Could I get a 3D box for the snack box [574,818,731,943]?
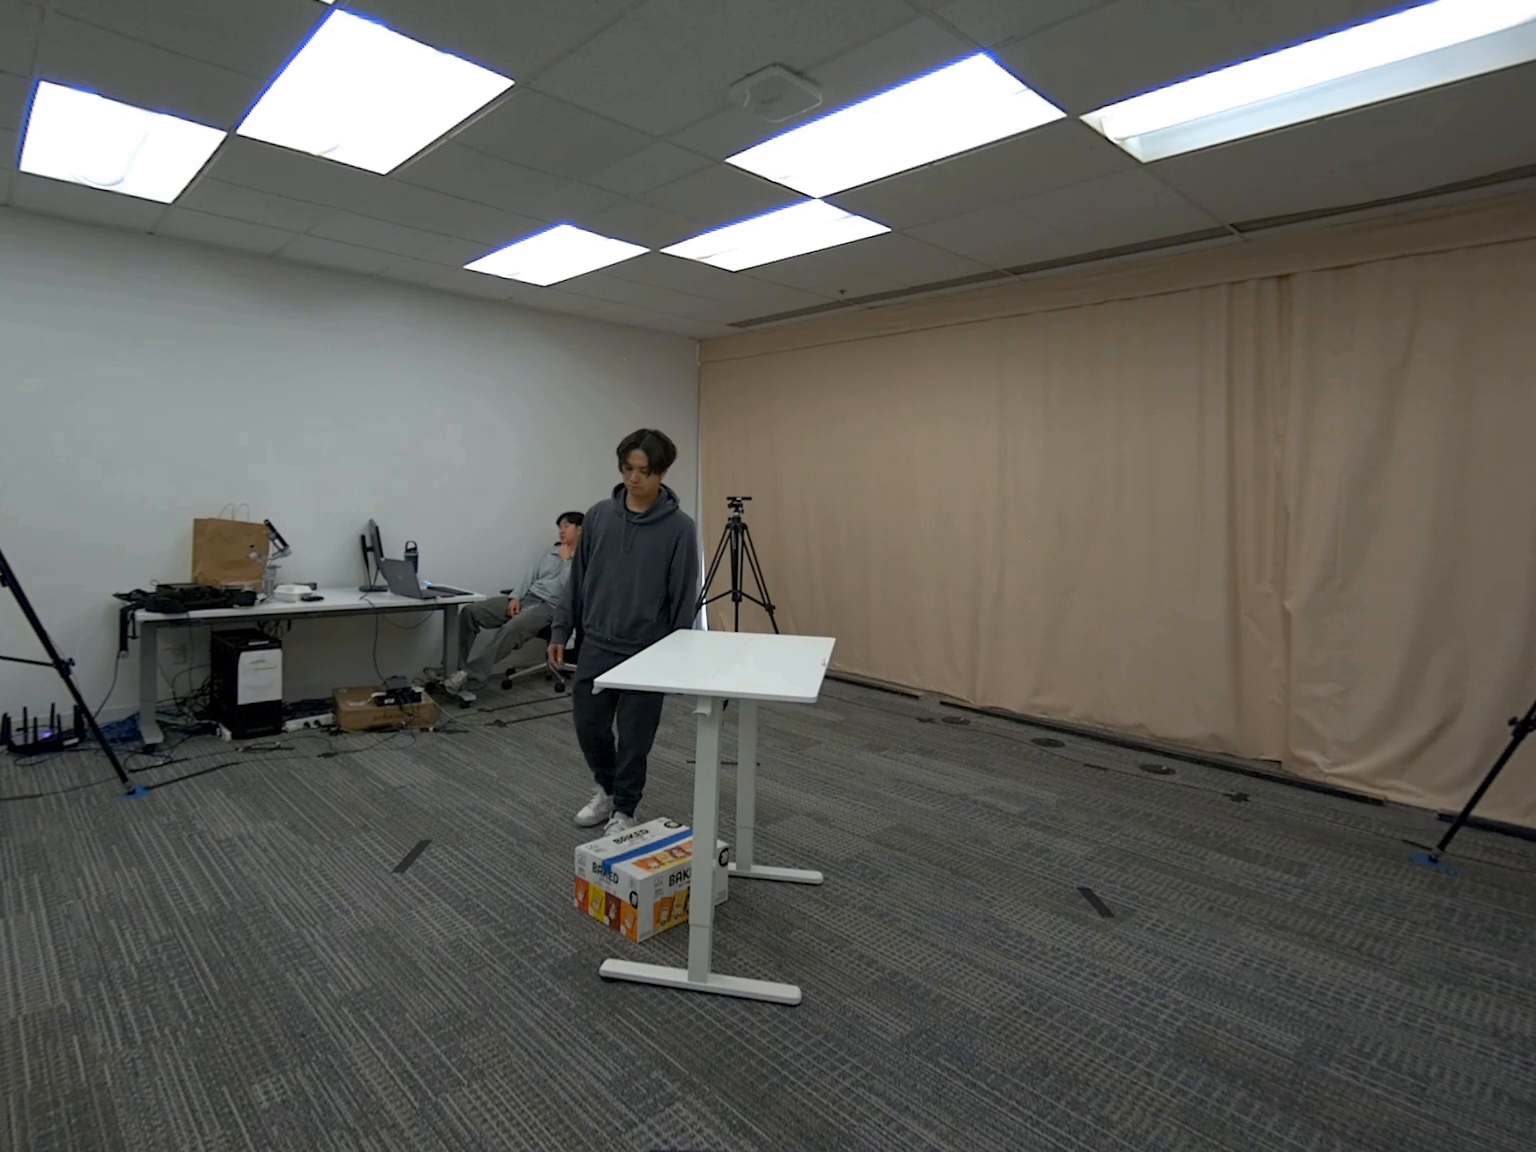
[{"bbox_3d":[-0.402,1.022,2.868,0.349,0.205,0.396,6,6,42],"label":"snack box"}]
